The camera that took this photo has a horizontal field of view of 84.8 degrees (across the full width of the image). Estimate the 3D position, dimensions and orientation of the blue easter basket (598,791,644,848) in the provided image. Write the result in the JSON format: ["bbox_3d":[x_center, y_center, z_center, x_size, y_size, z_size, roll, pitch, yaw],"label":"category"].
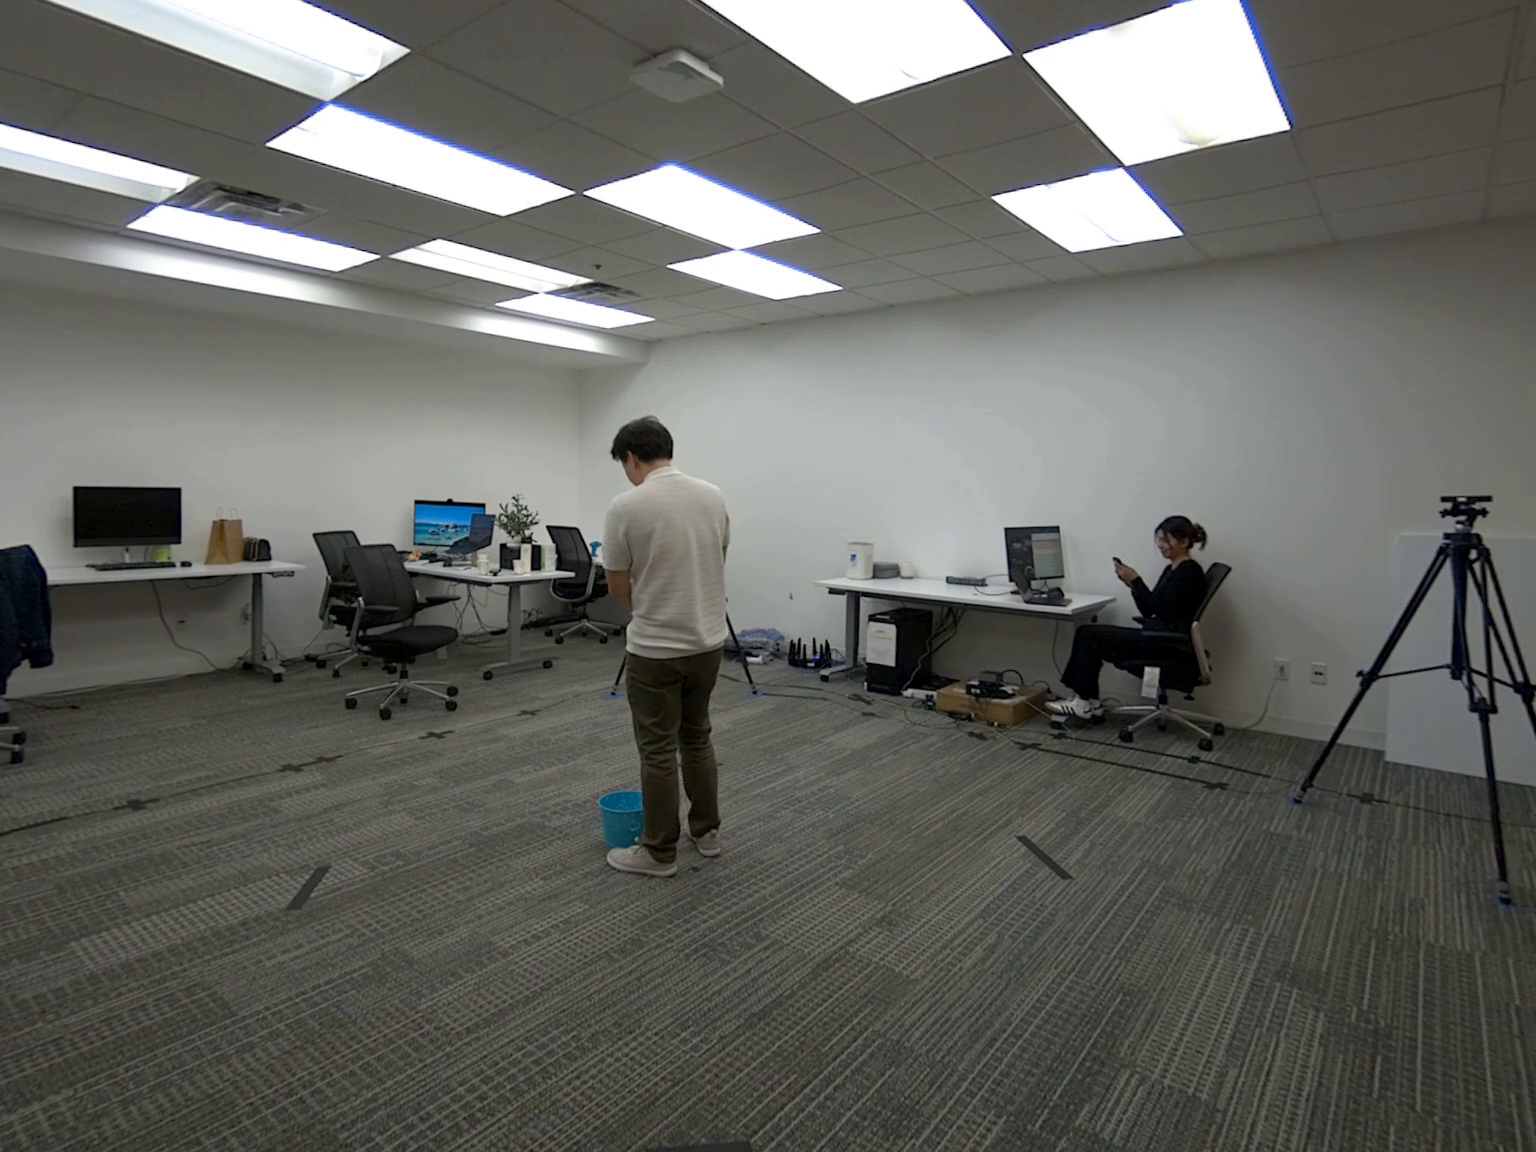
[{"bbox_3d":[-0.555,0.955,3.358,0.243,0.155,0.245,1,5,-2],"label":"blue easter basket"}]
